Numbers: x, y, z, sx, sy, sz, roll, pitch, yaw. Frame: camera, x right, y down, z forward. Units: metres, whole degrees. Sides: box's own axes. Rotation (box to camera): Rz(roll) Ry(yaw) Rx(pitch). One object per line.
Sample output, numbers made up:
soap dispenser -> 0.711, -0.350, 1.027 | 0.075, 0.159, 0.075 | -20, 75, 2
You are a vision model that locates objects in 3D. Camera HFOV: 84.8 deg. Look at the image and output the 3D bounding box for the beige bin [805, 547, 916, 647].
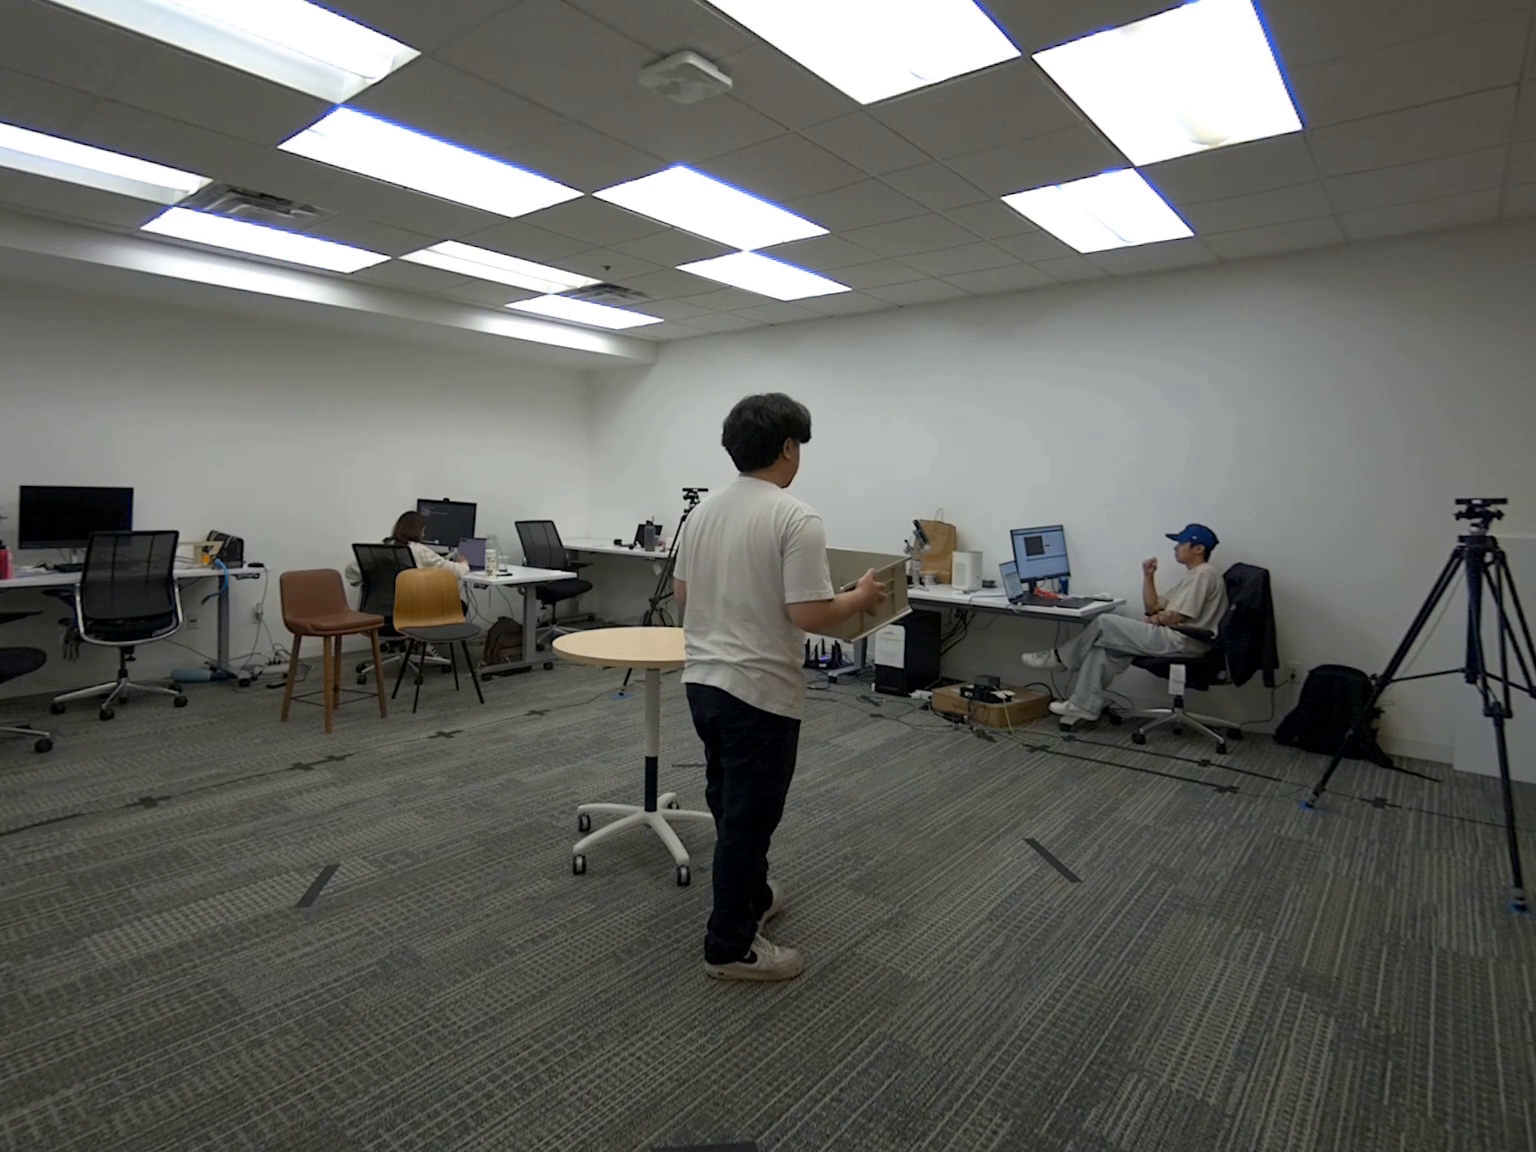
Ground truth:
beige bin -> 0.171, 0.048, 2.664 | 0.369, 0.187, 0.437 | -17, 16, -42
